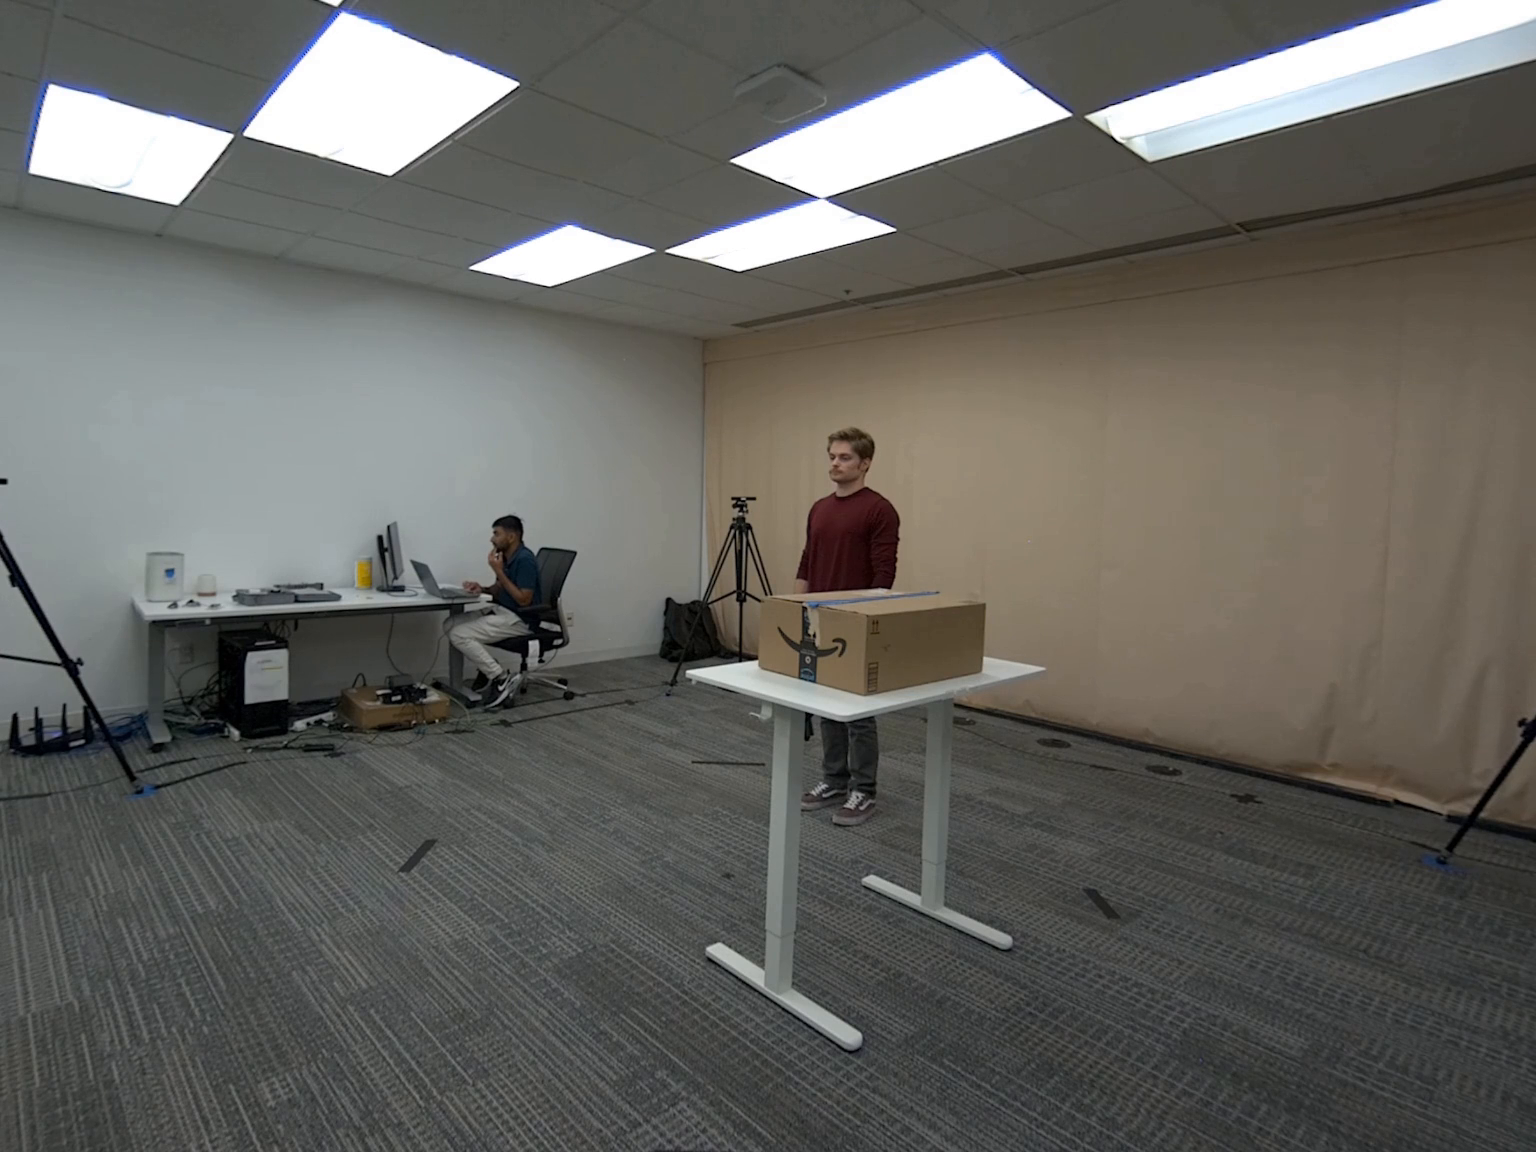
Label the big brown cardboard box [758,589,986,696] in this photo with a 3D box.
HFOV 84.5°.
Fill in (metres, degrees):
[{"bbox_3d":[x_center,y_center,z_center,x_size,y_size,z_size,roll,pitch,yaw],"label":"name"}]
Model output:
[{"bbox_3d":[0.317,0.181,2.537,0.576,0.232,0.428,-4,7,-43],"label":"big brown cardboard box"}]
